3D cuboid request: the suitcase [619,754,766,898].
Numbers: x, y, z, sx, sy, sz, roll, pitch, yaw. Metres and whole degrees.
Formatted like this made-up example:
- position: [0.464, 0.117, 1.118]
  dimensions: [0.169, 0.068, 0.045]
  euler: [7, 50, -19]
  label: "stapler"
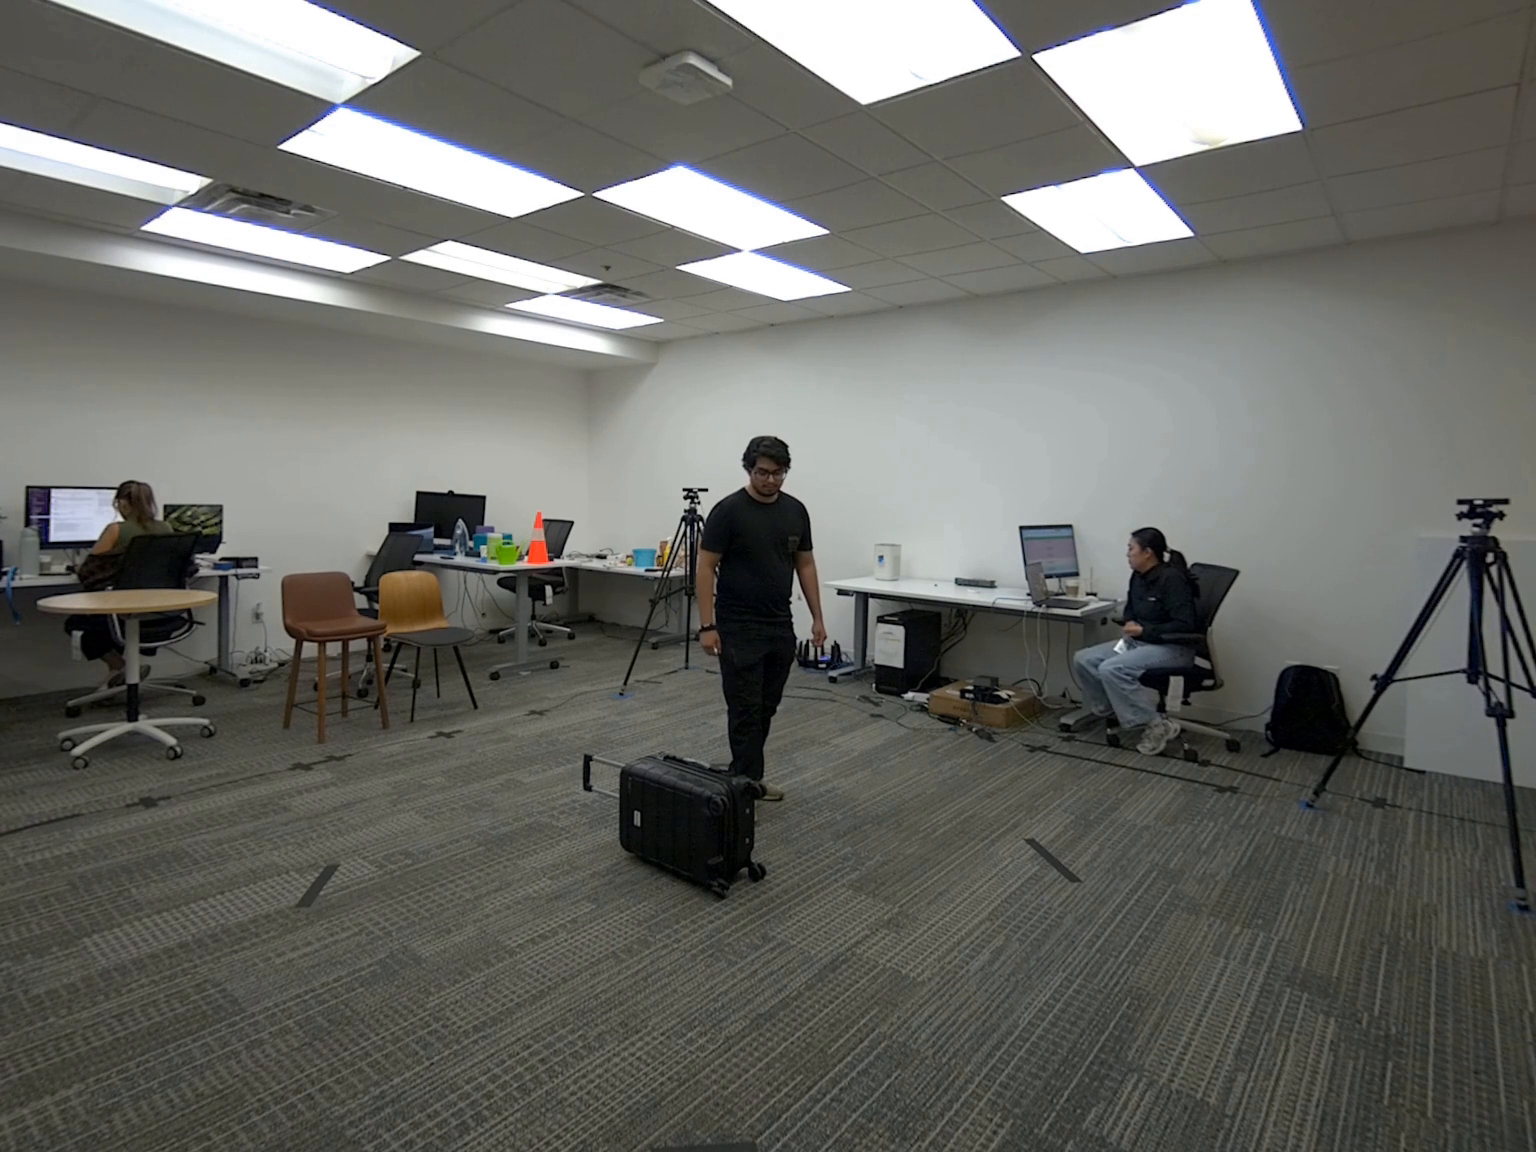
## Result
- position: [-0.473, 0.864, 3.252]
  dimensions: [1.011, 0.383, 0.249]
  euler: [4, 5, 39]
  label: "suitcase"
